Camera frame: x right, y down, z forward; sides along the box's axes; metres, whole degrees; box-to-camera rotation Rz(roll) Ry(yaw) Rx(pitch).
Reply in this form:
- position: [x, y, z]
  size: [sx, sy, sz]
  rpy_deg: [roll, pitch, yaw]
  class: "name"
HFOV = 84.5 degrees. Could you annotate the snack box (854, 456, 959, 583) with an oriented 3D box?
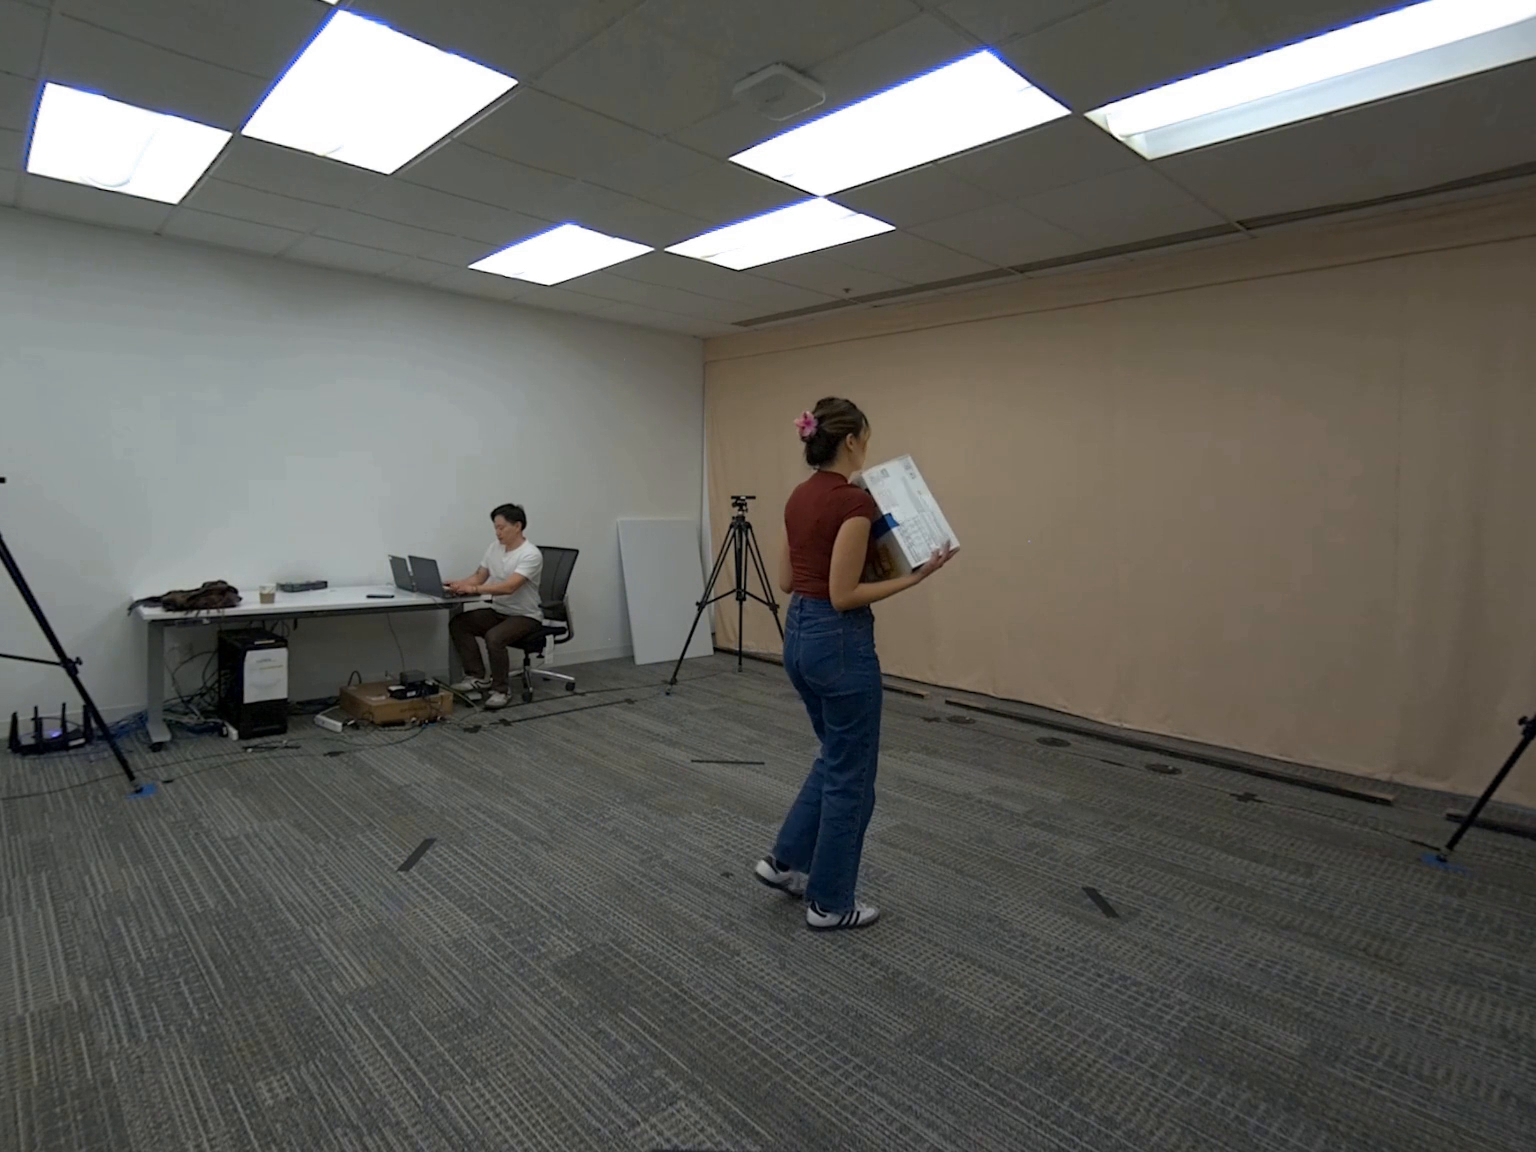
- position: [0.362, -0.151, 2.819]
  size: [0.203, 0.344, 0.405]
  rpy_deg: [-22, -10, -26]
  class: "snack box"
